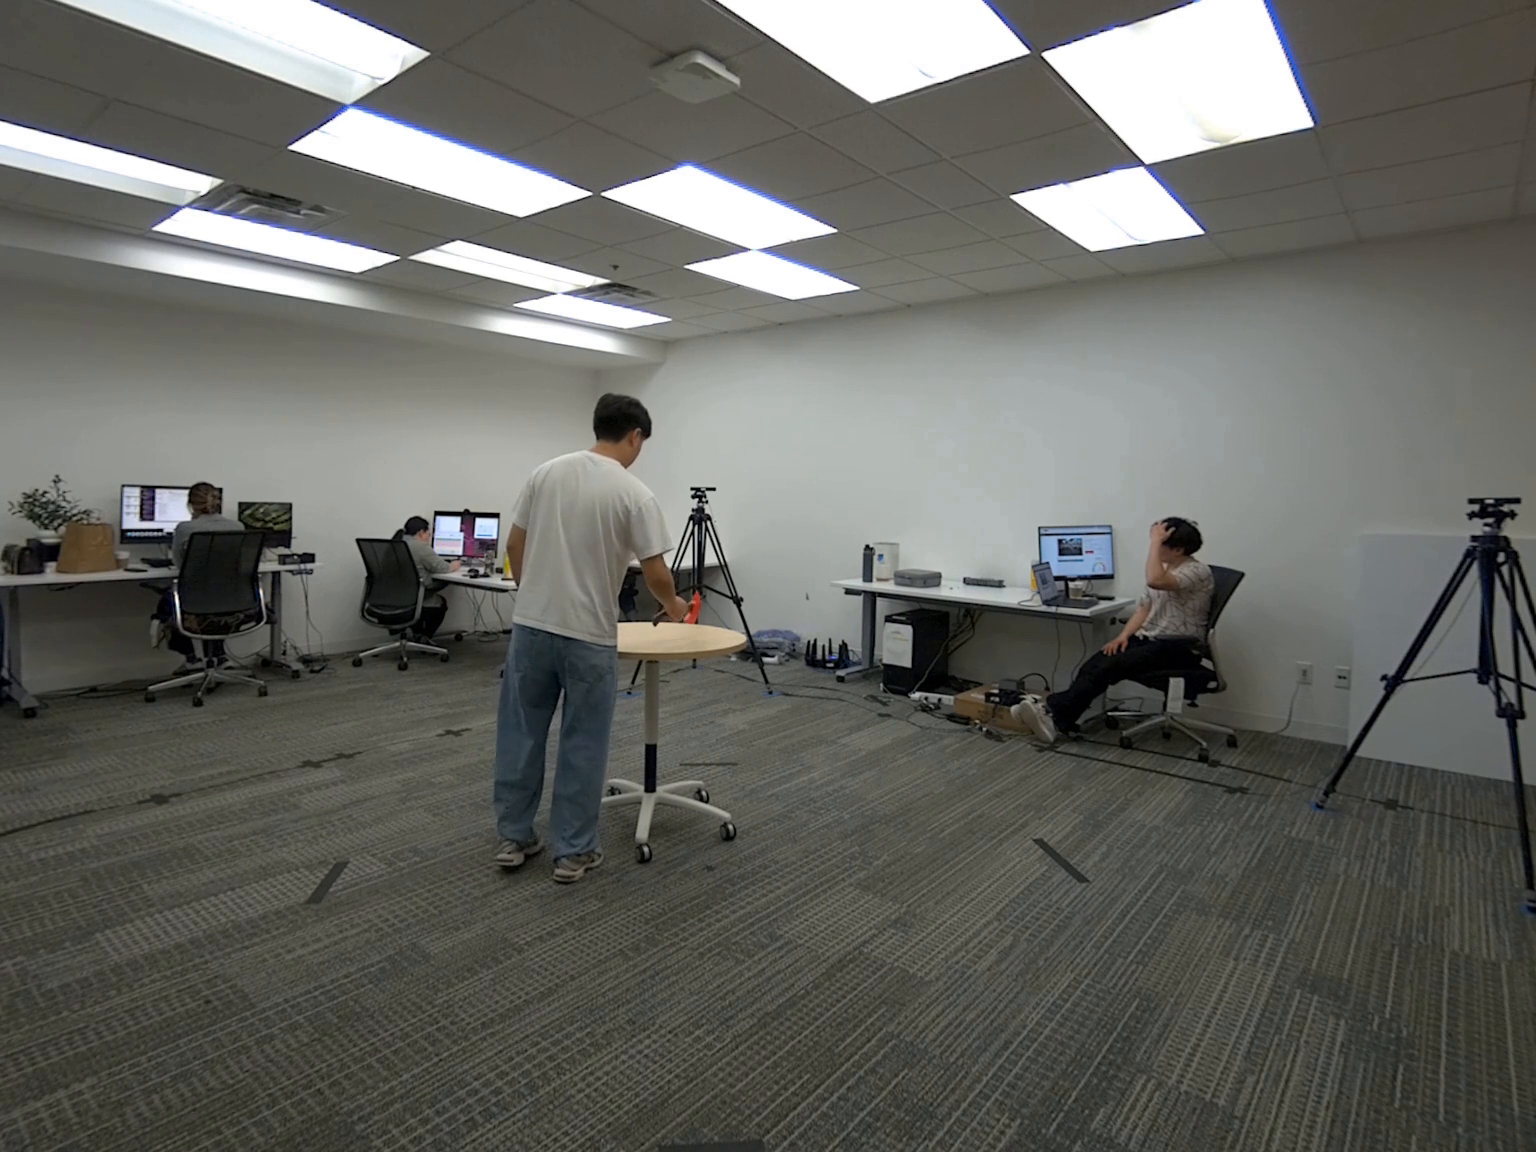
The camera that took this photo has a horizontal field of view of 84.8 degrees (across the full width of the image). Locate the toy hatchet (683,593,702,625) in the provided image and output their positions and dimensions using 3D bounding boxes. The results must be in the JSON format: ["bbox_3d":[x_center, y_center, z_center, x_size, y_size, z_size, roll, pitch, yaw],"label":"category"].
[{"bbox_3d":[-0.374,0.167,3.316,0.031,0.128,0.266,13,31,36],"label":"toy hatchet"}]
